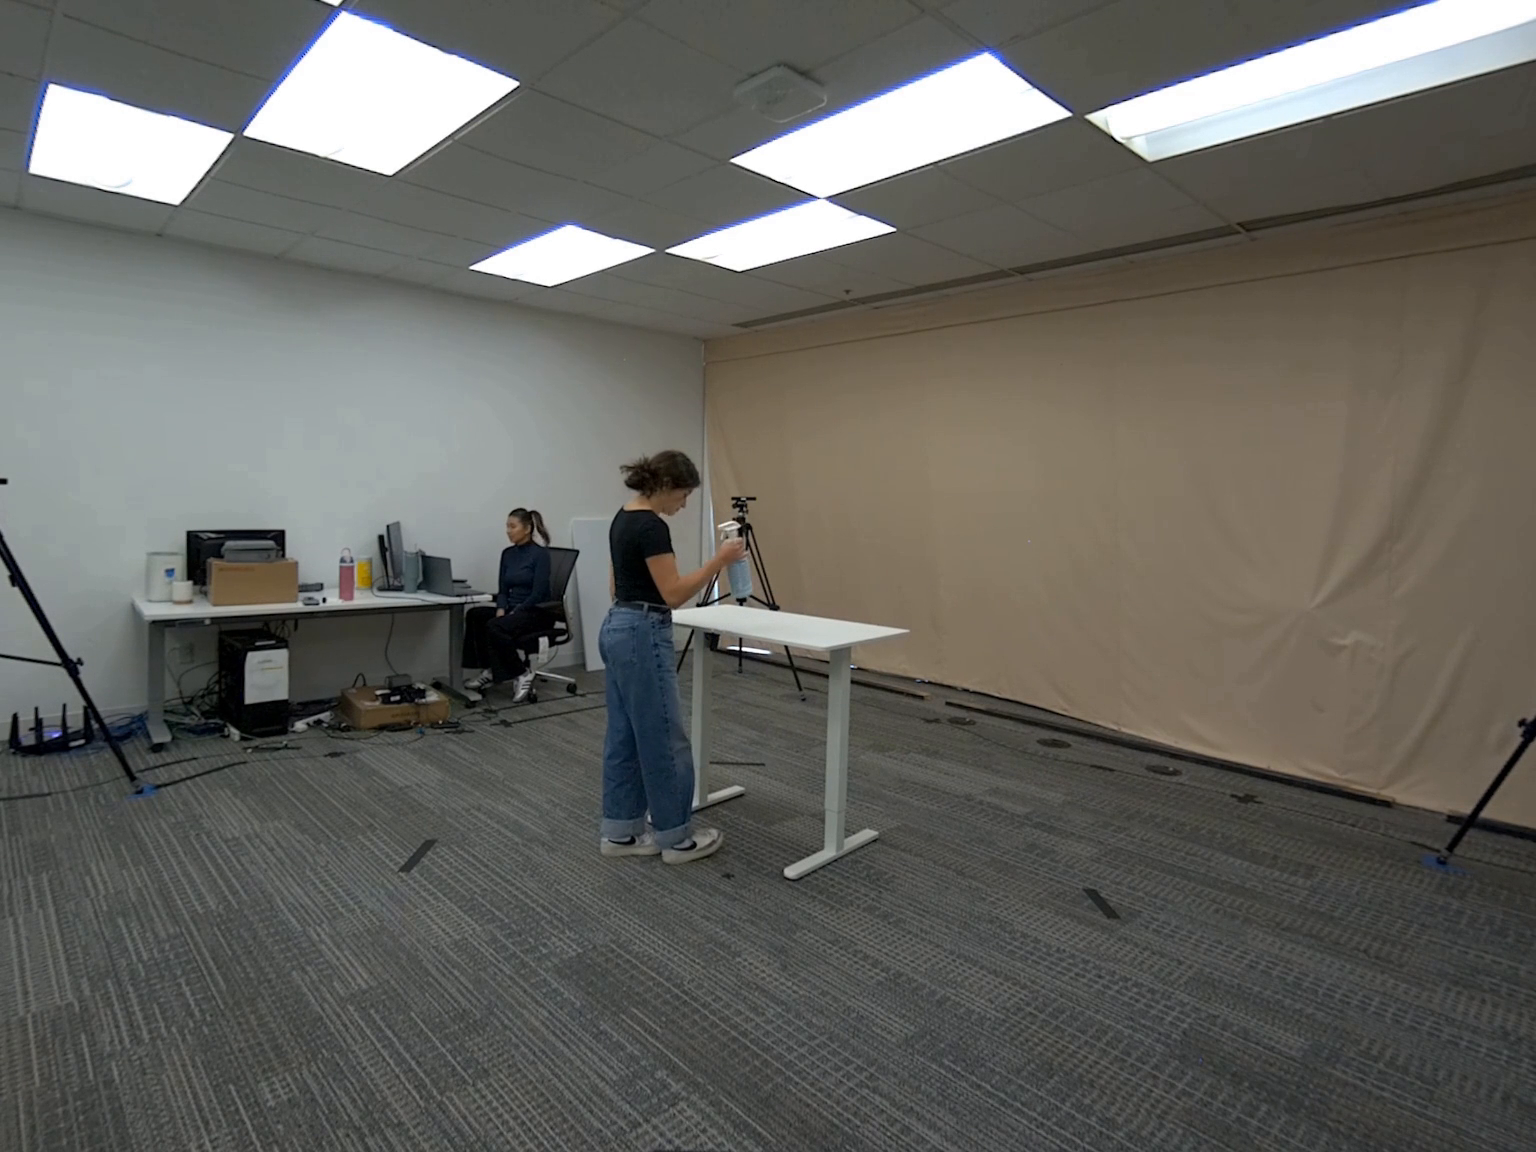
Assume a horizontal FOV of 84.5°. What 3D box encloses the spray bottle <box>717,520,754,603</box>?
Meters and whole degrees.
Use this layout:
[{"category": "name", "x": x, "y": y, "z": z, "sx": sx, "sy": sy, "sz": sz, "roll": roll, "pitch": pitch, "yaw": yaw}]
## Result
[{"category": "spray bottle", "x": -0.130, "y": -0.065, "z": 3.156, "sx": 0.090, "sy": 0.293, "sz": 0.088, "roll": -11, "pitch": 18, "yaw": 0}]
